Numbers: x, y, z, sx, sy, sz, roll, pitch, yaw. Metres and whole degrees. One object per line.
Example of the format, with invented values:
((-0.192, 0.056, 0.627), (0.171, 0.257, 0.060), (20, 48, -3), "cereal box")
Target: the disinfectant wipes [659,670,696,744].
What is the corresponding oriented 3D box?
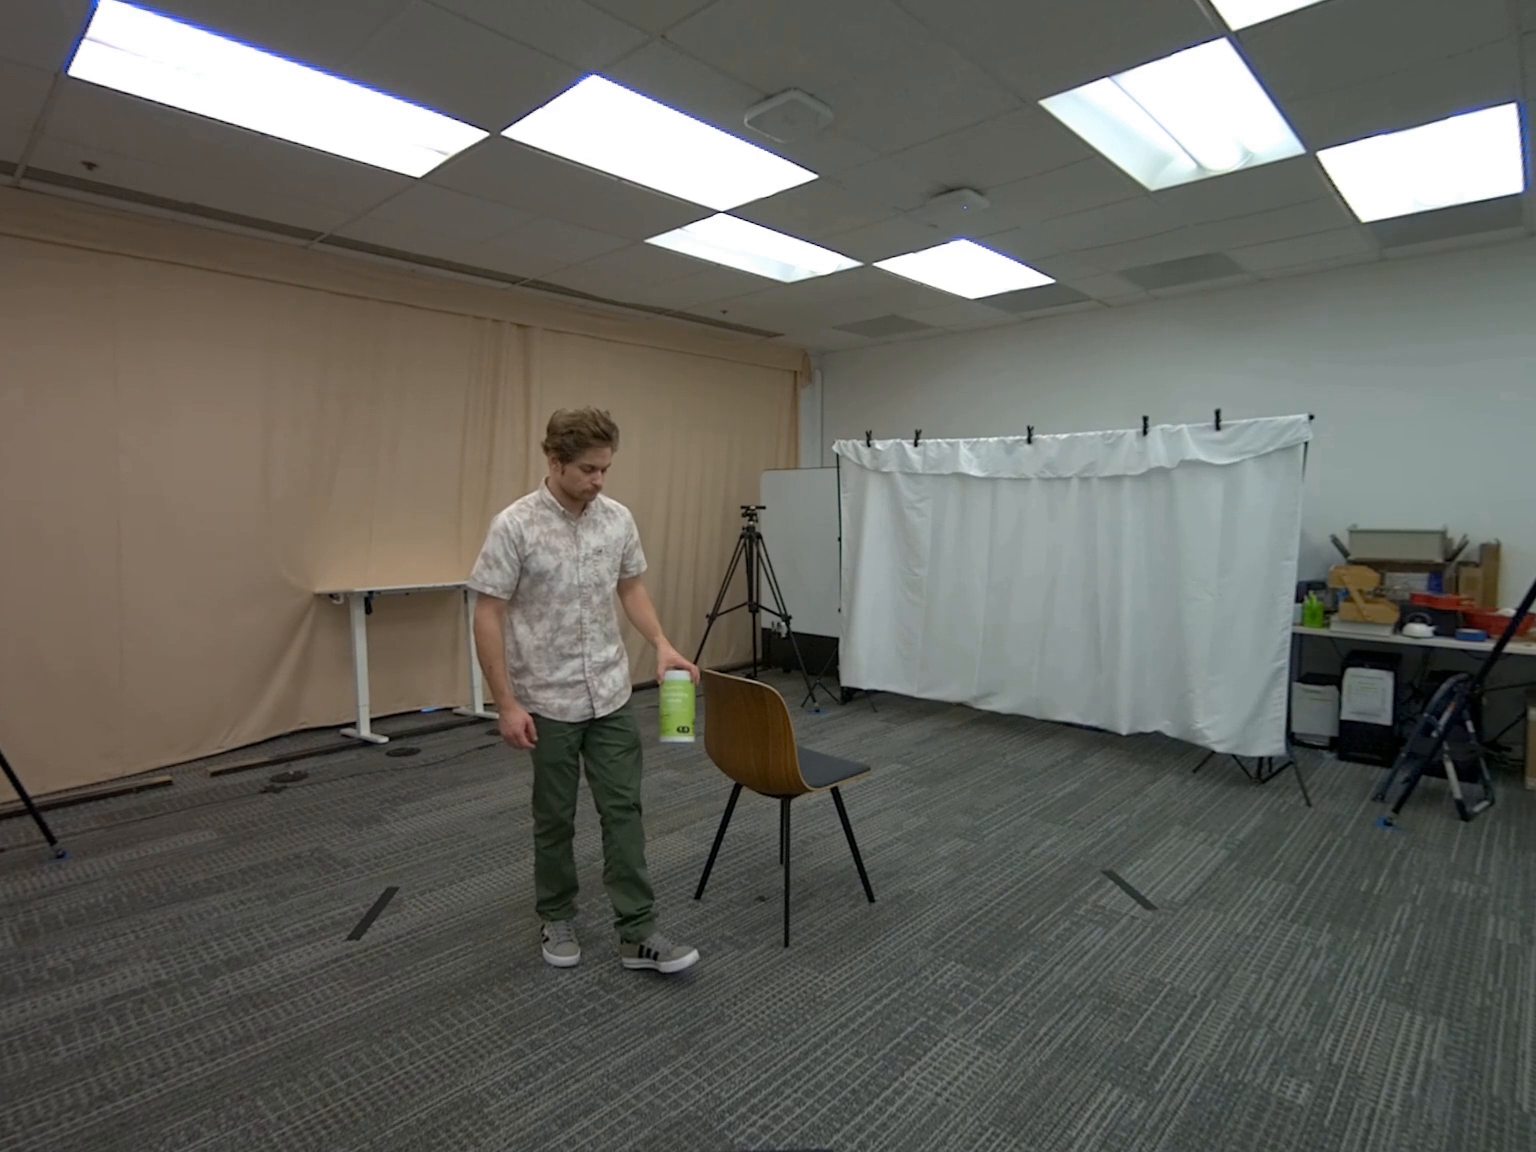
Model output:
((-0.279, 0.404, 2.588), (0.118, 0.218, 0.117), (0, -7, -2), "disinfectant wipes")
